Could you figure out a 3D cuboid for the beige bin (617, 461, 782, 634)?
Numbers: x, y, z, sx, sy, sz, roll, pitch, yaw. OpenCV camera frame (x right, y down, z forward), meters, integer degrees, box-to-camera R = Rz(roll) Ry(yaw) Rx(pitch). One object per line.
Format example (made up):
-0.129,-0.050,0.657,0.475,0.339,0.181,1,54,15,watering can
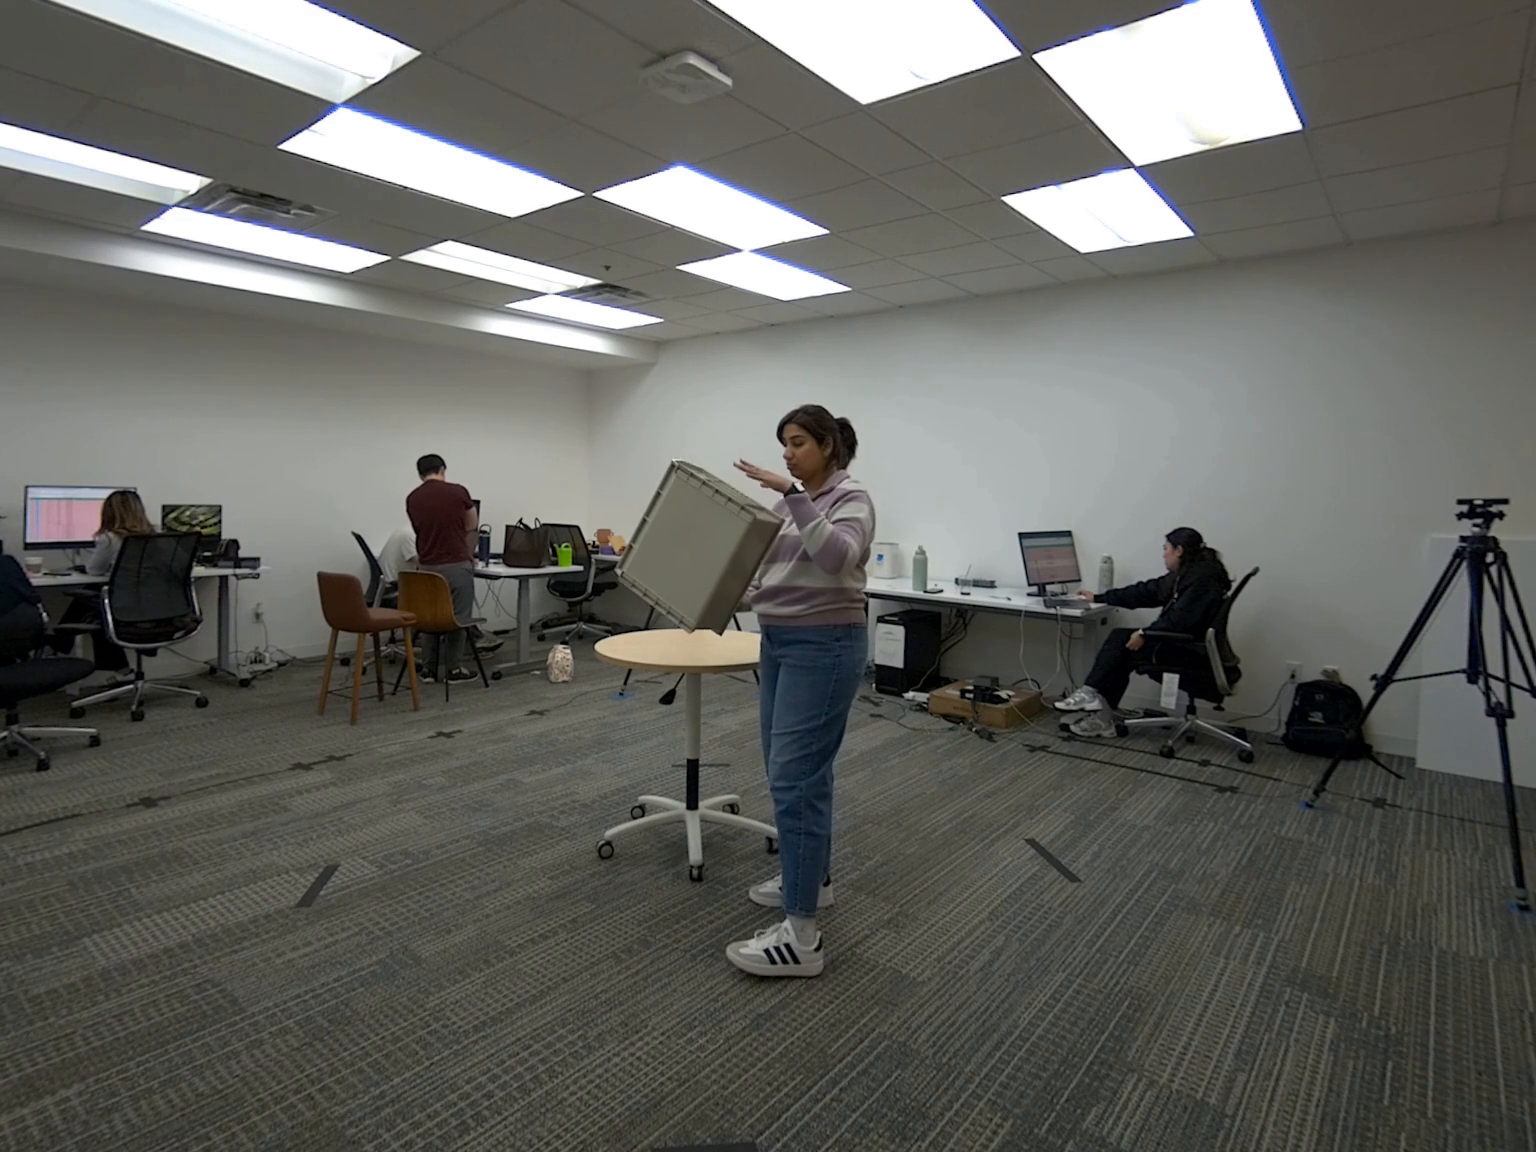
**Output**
-0.238,-0.094,2.647,0.391,0.421,0.183,34,12,27,beige bin
